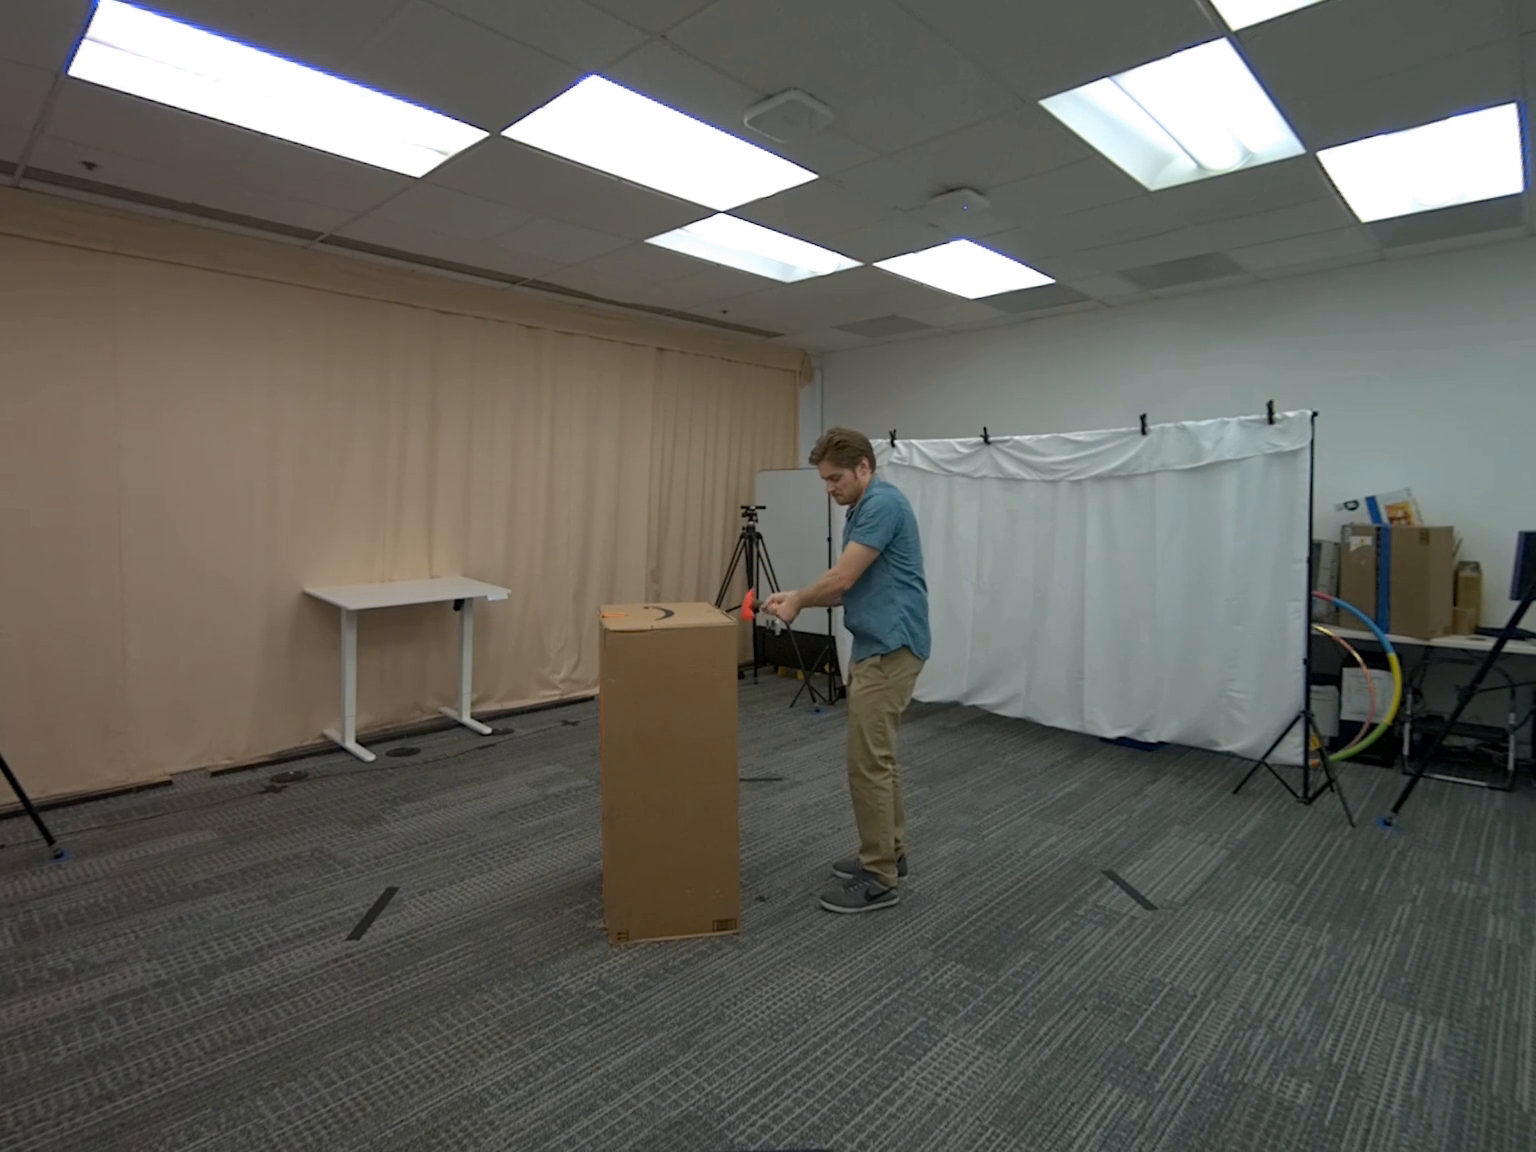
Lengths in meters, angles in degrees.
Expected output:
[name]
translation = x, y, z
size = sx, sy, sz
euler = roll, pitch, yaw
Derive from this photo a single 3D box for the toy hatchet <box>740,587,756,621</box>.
[toy hatchet]
translation = -0.005, 0.160, 3.239
size = 0.280, 0.131, 0.028
euler = 31, -6, 44
